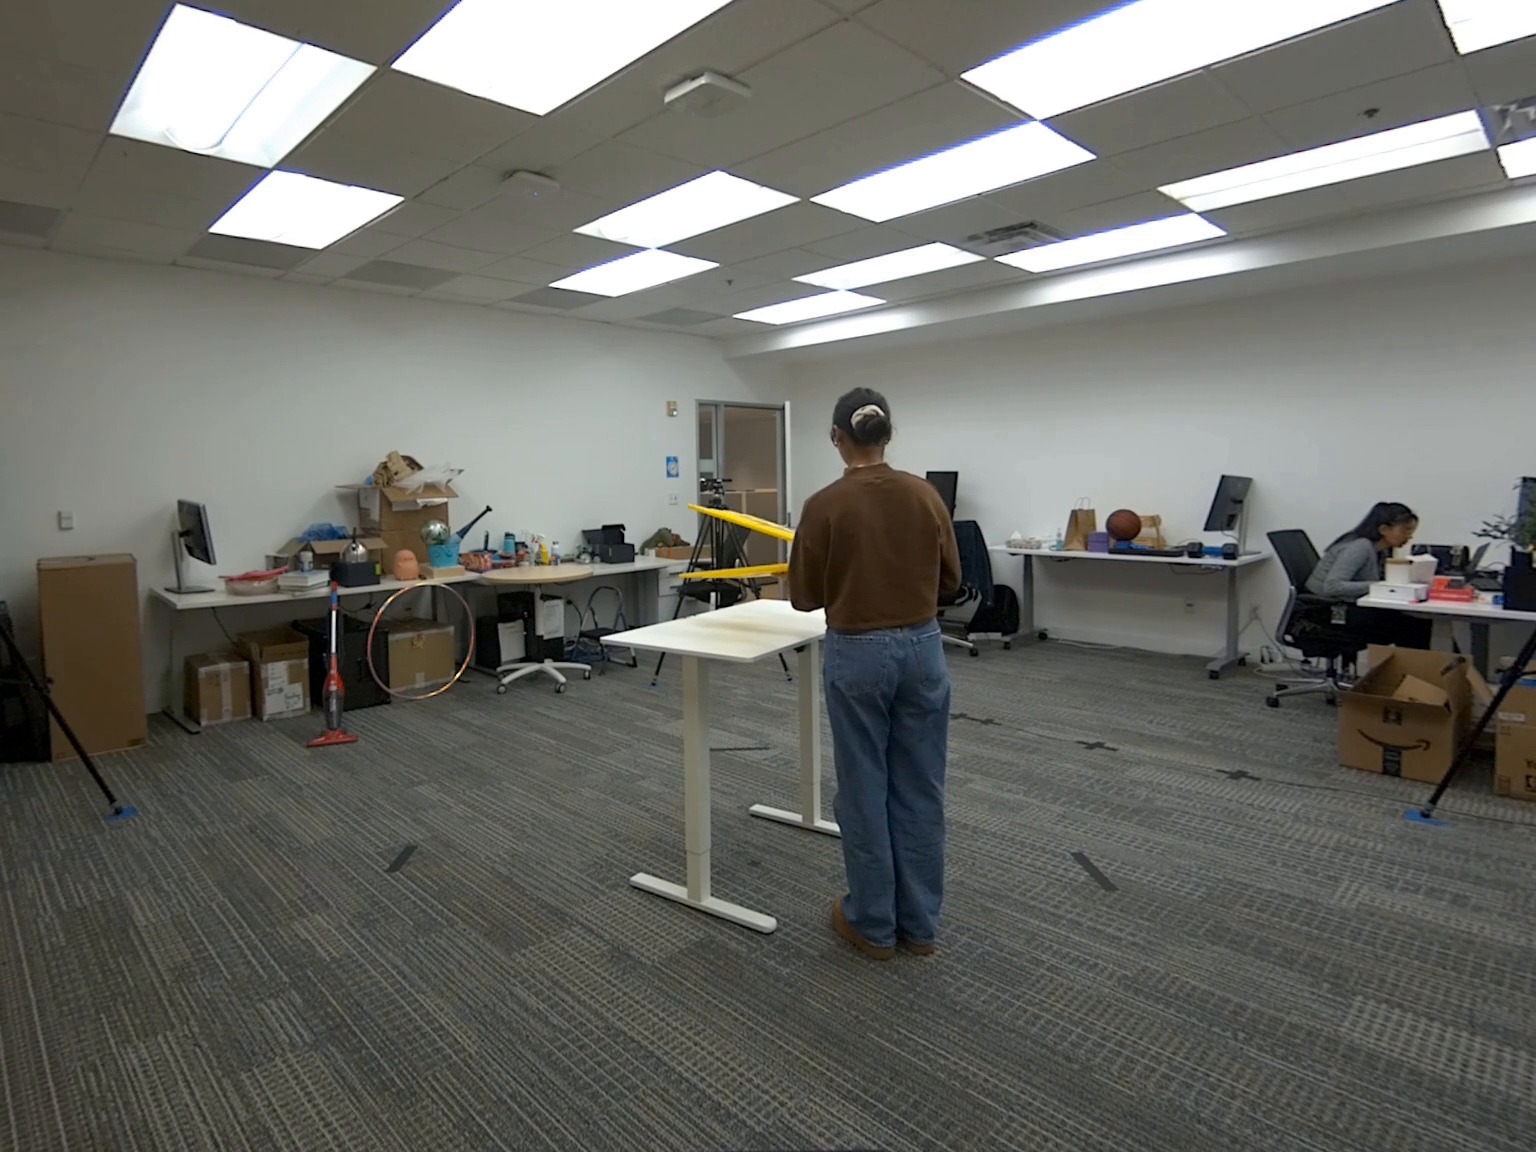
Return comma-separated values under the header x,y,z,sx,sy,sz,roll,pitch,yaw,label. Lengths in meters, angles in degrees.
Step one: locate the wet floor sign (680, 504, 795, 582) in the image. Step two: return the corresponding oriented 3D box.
x,y,z,sx,sy,sz,roll,pitch,yaw,label
0.046,-0.083,2.912,0.665,0.290,0.274,5,0,35,wet floor sign
